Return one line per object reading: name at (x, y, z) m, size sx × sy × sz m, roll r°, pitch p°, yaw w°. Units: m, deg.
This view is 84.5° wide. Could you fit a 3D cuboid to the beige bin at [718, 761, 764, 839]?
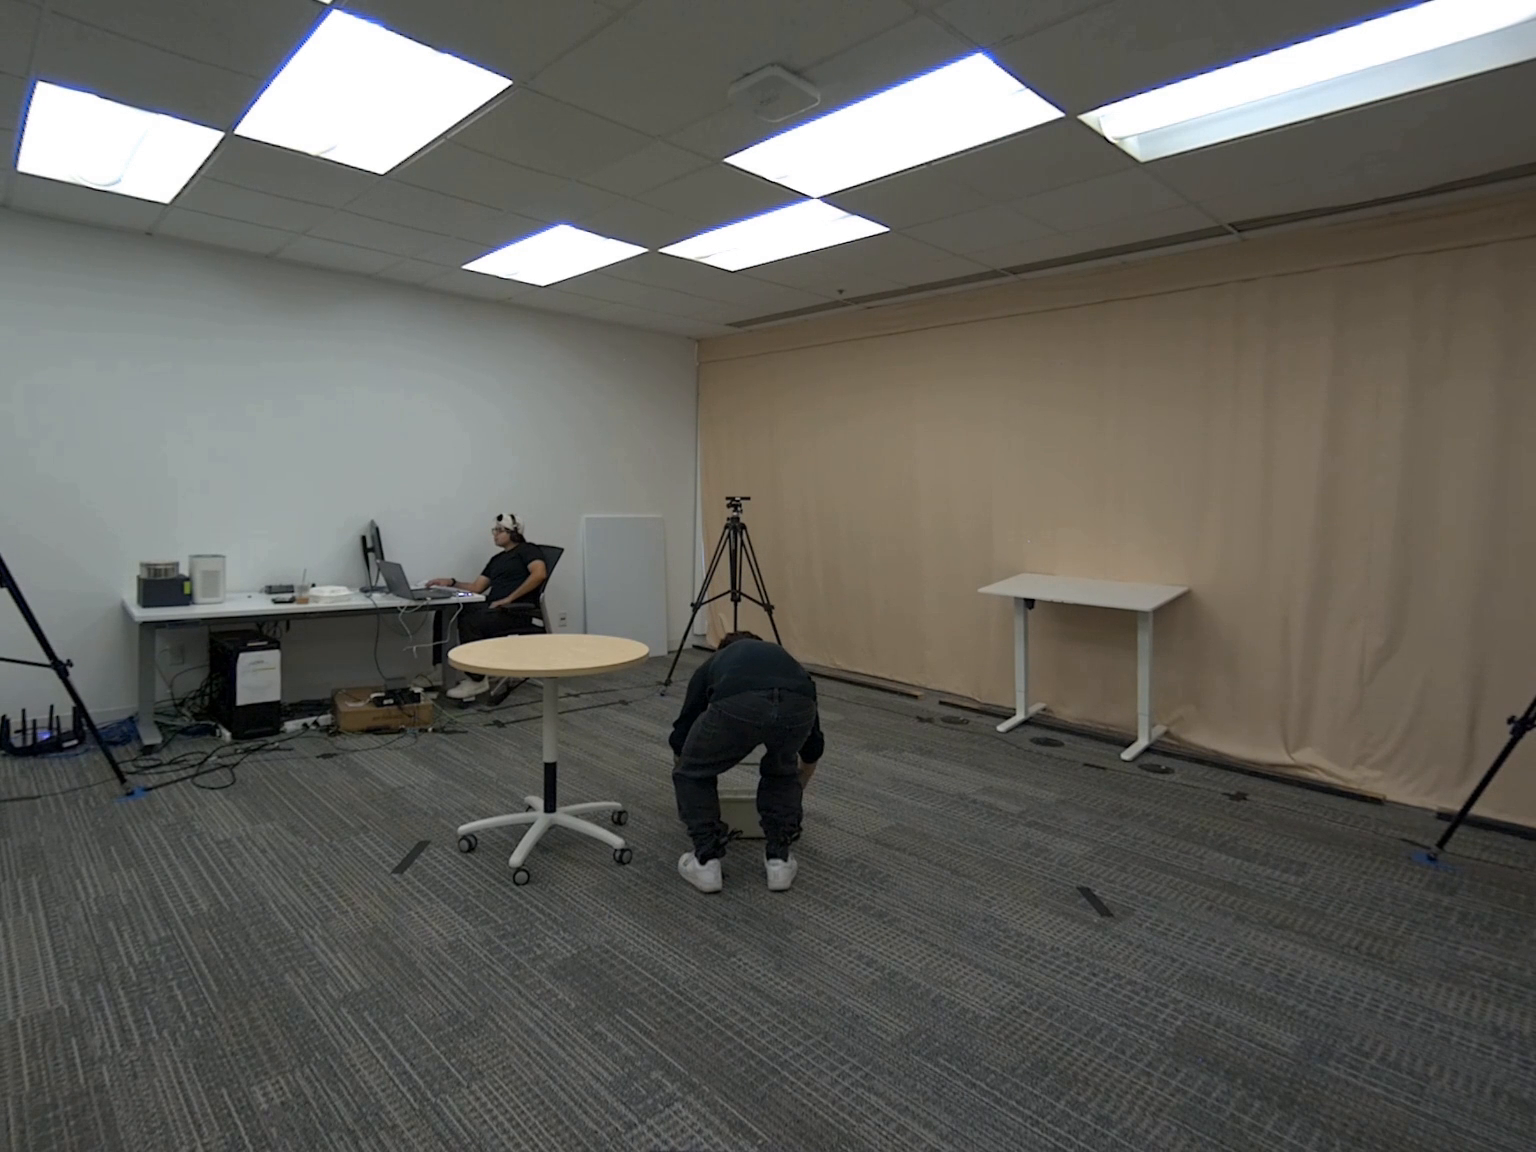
beige bin at (-0.129, 0.971, 3.601) m, size 0.420 × 0.188 × 0.380 m, roll 2°, pitch 5°, yaw -6°
